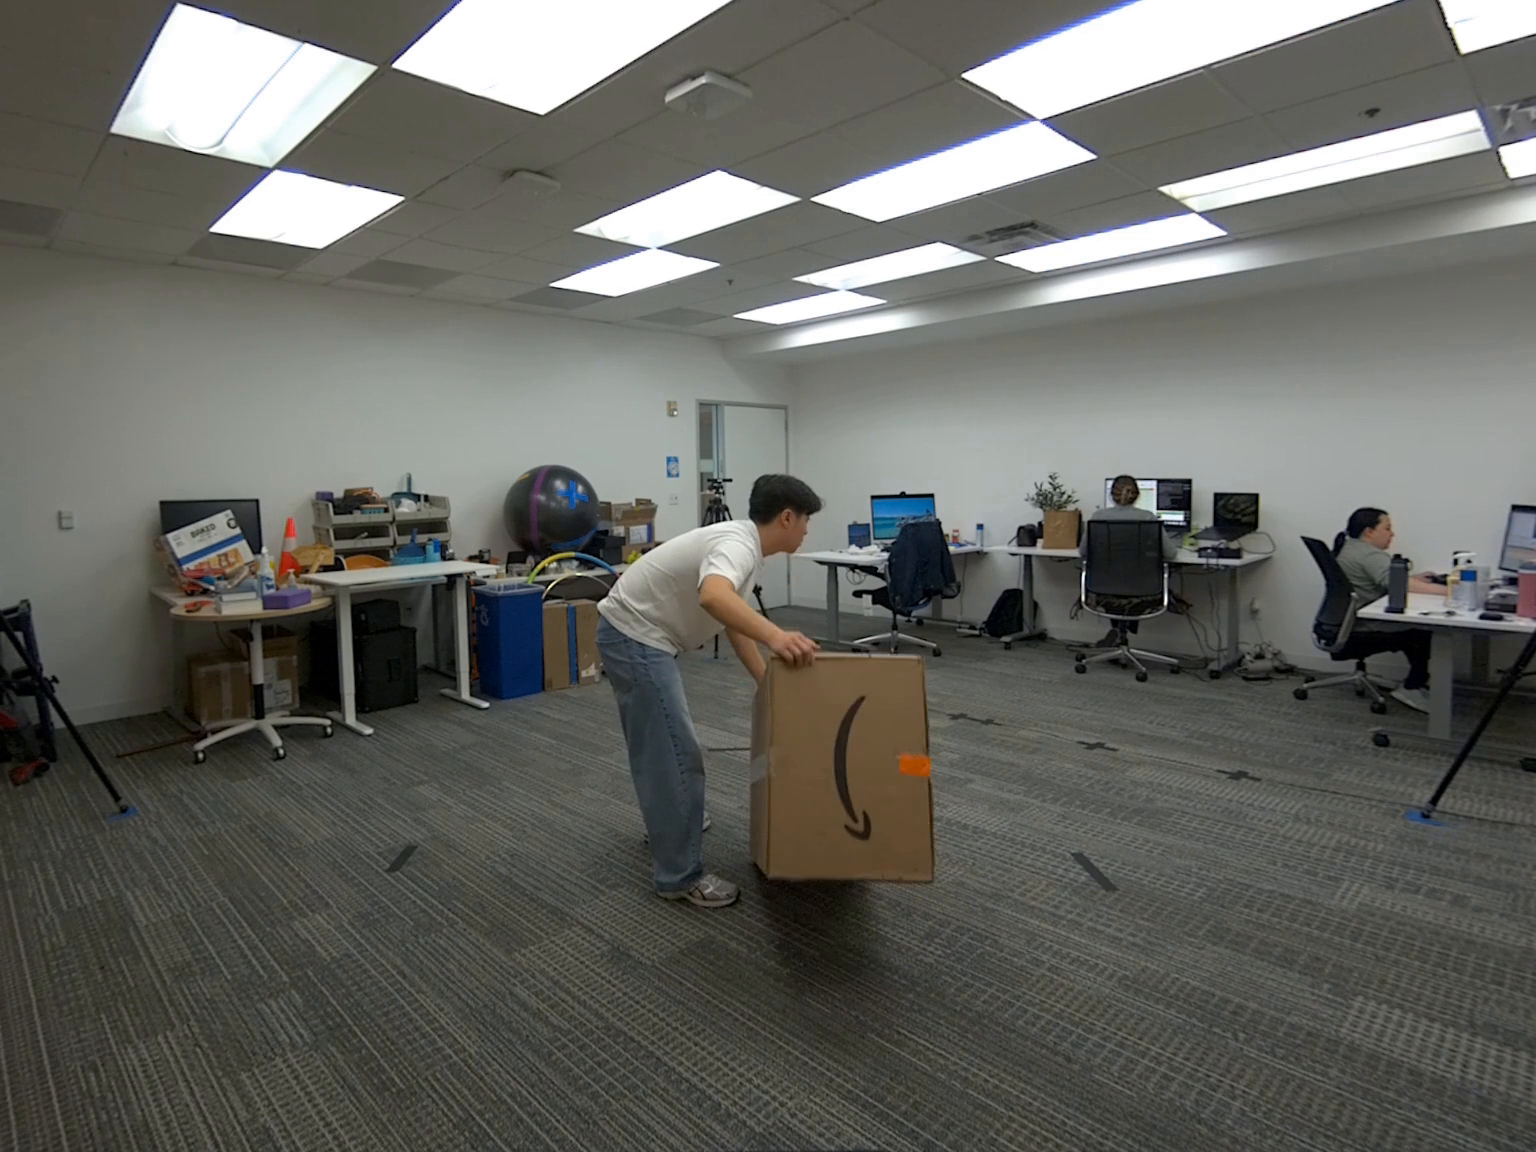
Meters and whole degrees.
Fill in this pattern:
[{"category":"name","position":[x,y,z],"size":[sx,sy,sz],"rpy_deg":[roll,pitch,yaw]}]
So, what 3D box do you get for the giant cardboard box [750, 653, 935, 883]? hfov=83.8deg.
[{"category":"giant cardboard box","position":[0.189,0.627,2.733],"size":[0.426,0.586,1.012],"rpy_deg":[2,-16,-3]}]
